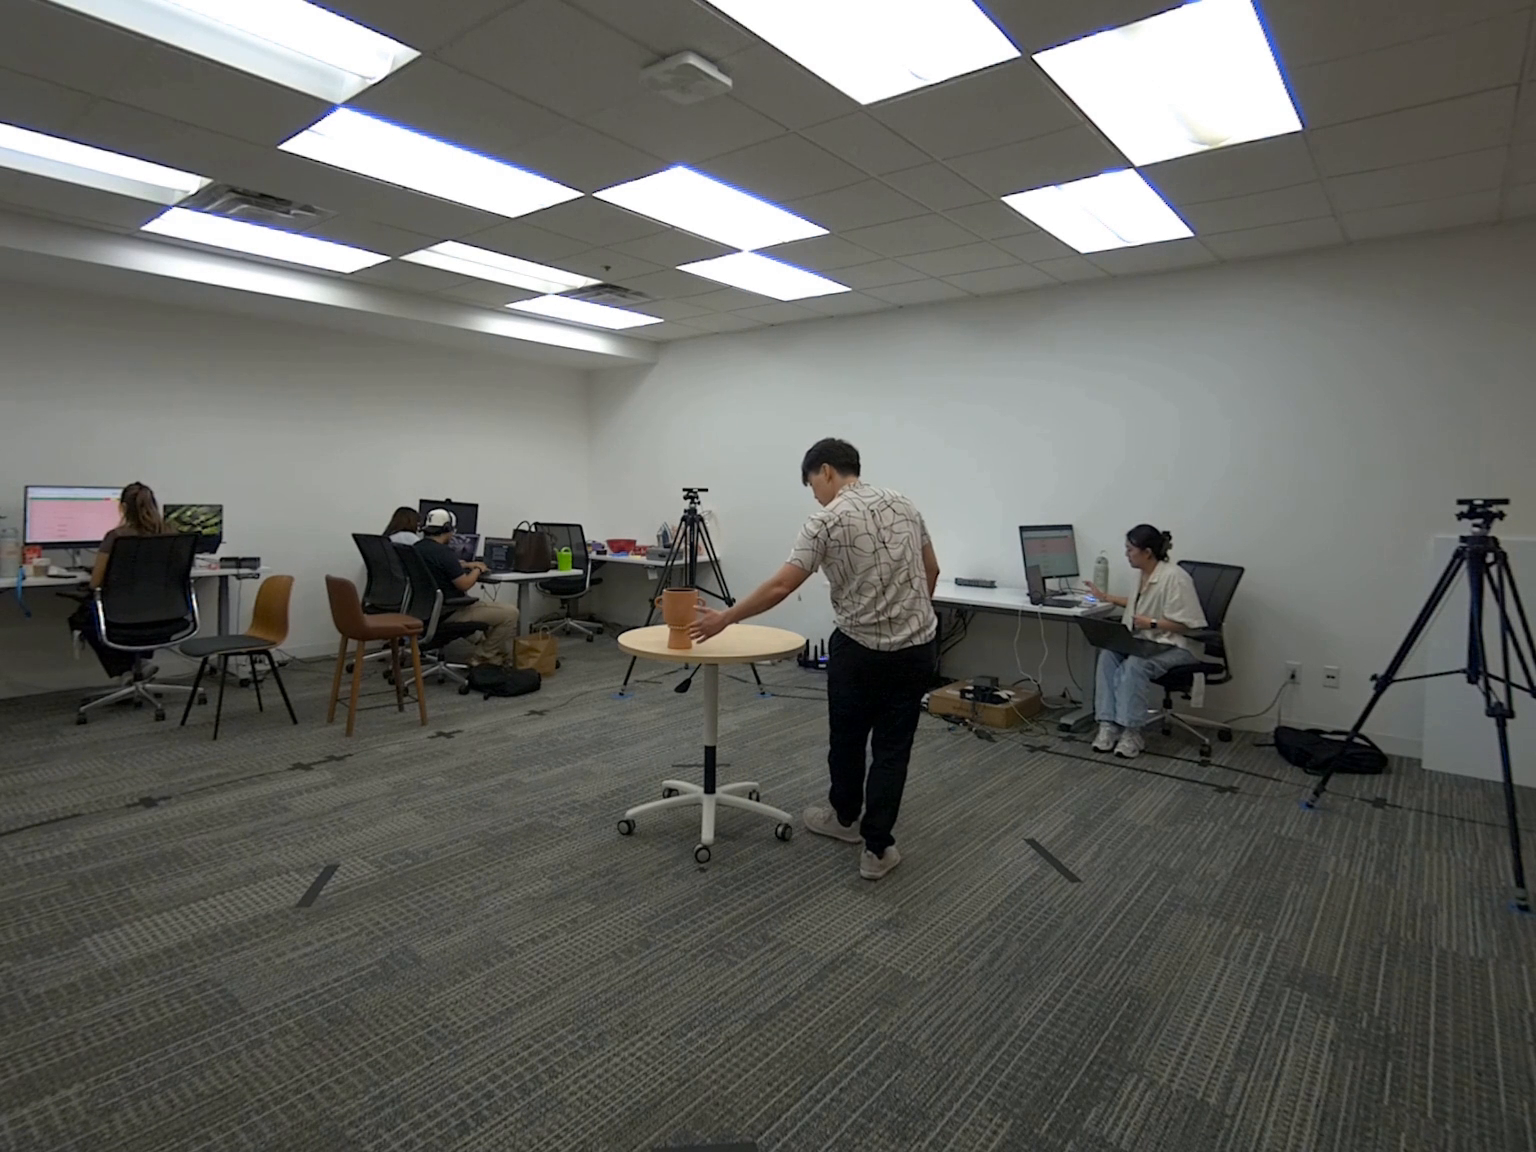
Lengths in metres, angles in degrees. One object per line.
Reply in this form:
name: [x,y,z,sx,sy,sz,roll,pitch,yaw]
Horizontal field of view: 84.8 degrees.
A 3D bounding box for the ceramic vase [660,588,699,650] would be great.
ceramic vase: [-0.350,0.160,3.274,0.164,0.219,0.131,5,7,44]
